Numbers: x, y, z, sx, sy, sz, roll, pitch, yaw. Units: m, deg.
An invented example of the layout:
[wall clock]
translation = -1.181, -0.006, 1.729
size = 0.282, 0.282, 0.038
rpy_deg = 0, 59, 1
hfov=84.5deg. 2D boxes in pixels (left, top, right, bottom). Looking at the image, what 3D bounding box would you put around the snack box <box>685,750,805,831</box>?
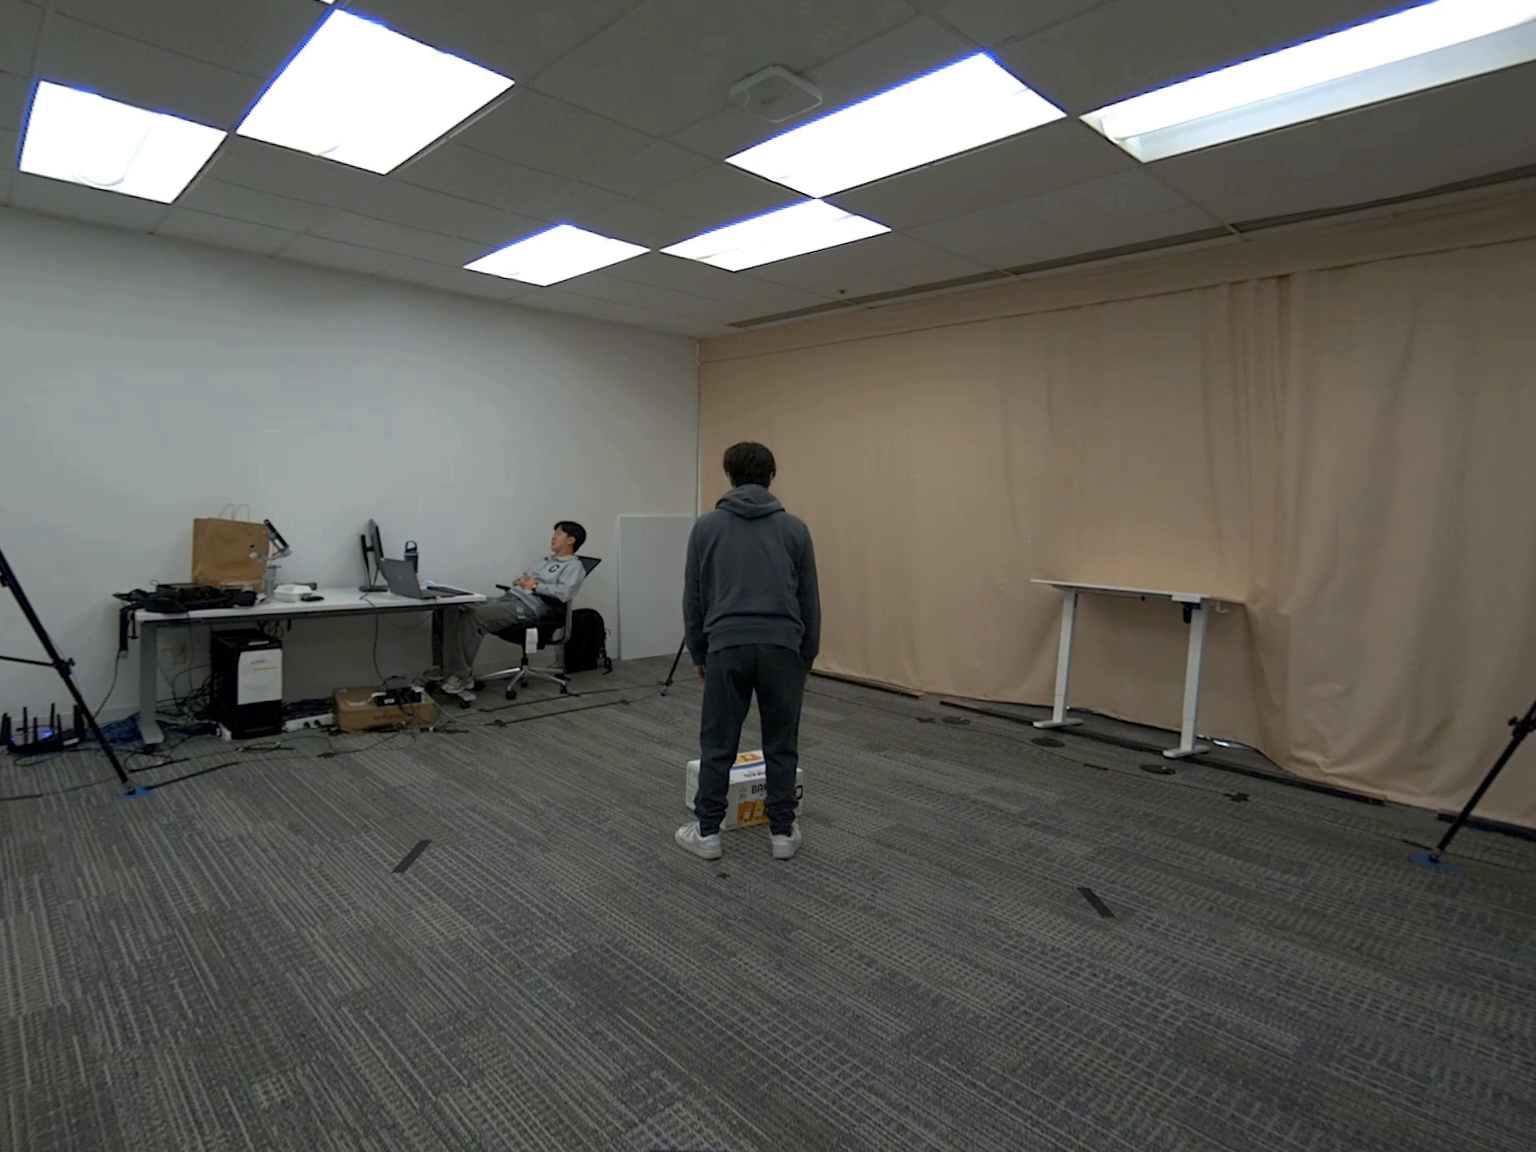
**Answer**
[snack box]
translation = -0.112, 0.944, 3.756
size = 0.396, 0.205, 0.349
rpy_deg = -2, 6, -34
